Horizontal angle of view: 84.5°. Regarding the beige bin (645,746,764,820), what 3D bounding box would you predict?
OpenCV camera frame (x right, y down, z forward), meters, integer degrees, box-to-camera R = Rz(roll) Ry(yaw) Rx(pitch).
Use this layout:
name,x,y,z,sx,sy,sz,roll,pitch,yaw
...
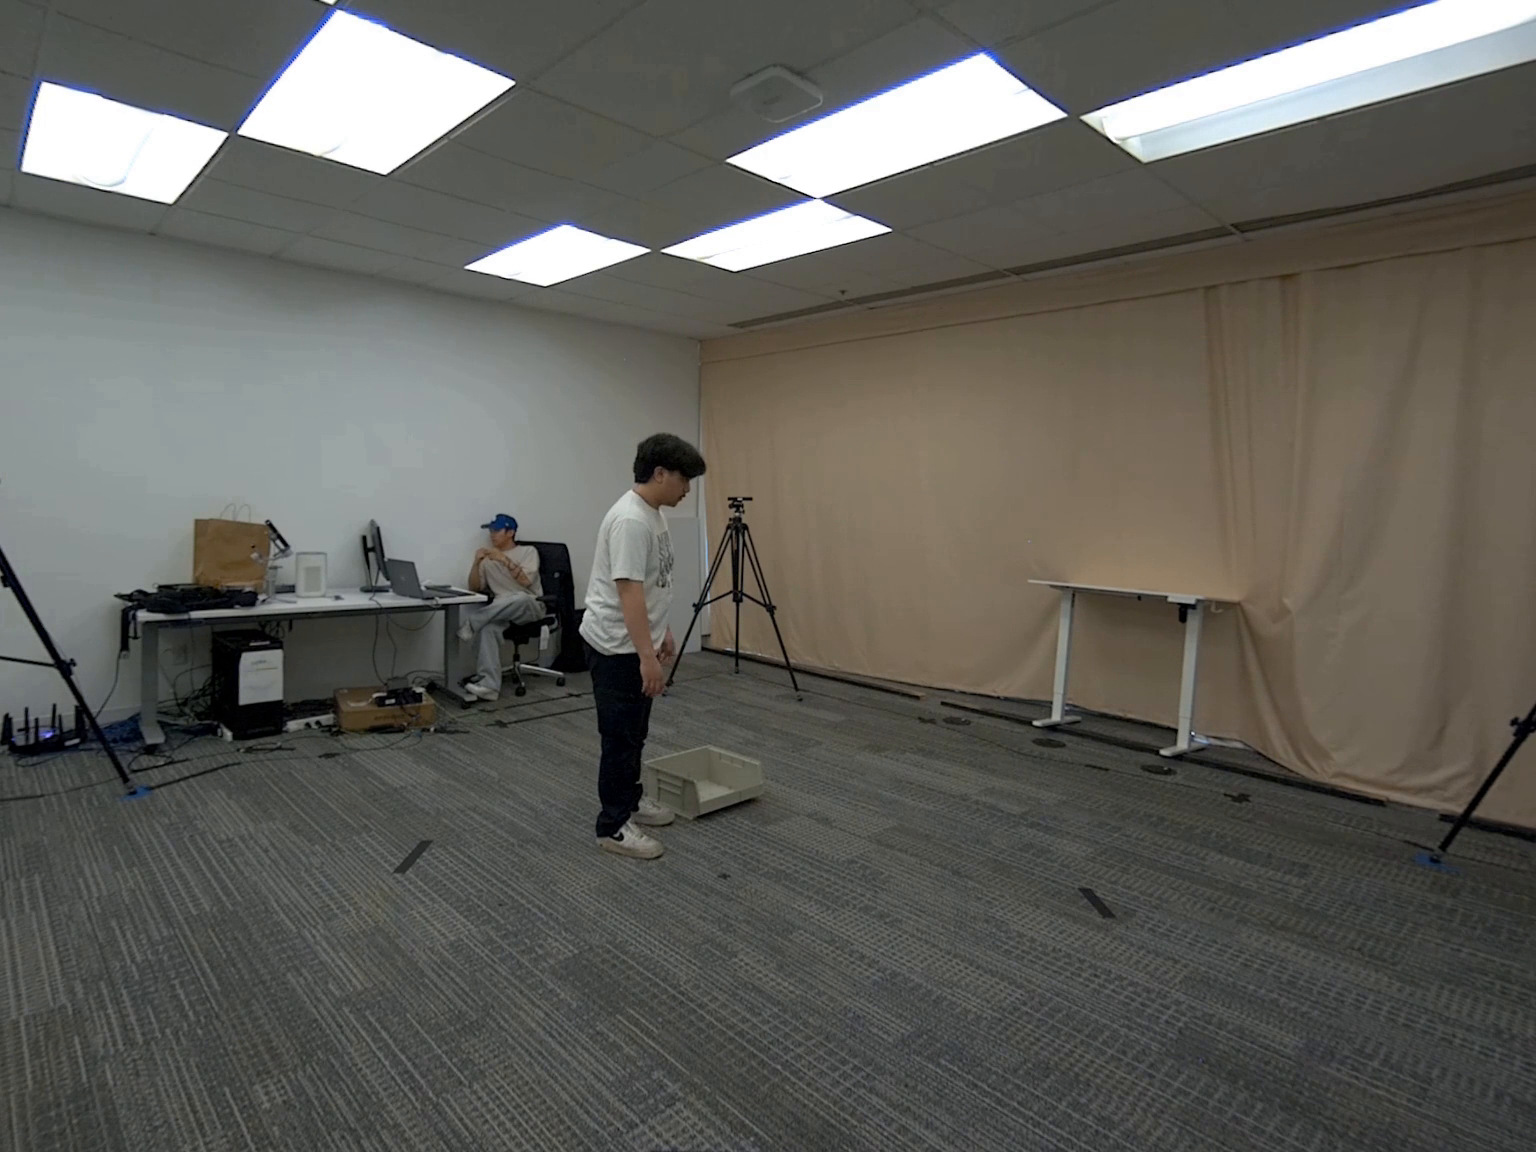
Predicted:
name,x,y,z,sx,sy,sz,roll,pitch,yaw
beige bin,-0.305,0.949,3.884,0.387,0.188,0.413,5,6,43
